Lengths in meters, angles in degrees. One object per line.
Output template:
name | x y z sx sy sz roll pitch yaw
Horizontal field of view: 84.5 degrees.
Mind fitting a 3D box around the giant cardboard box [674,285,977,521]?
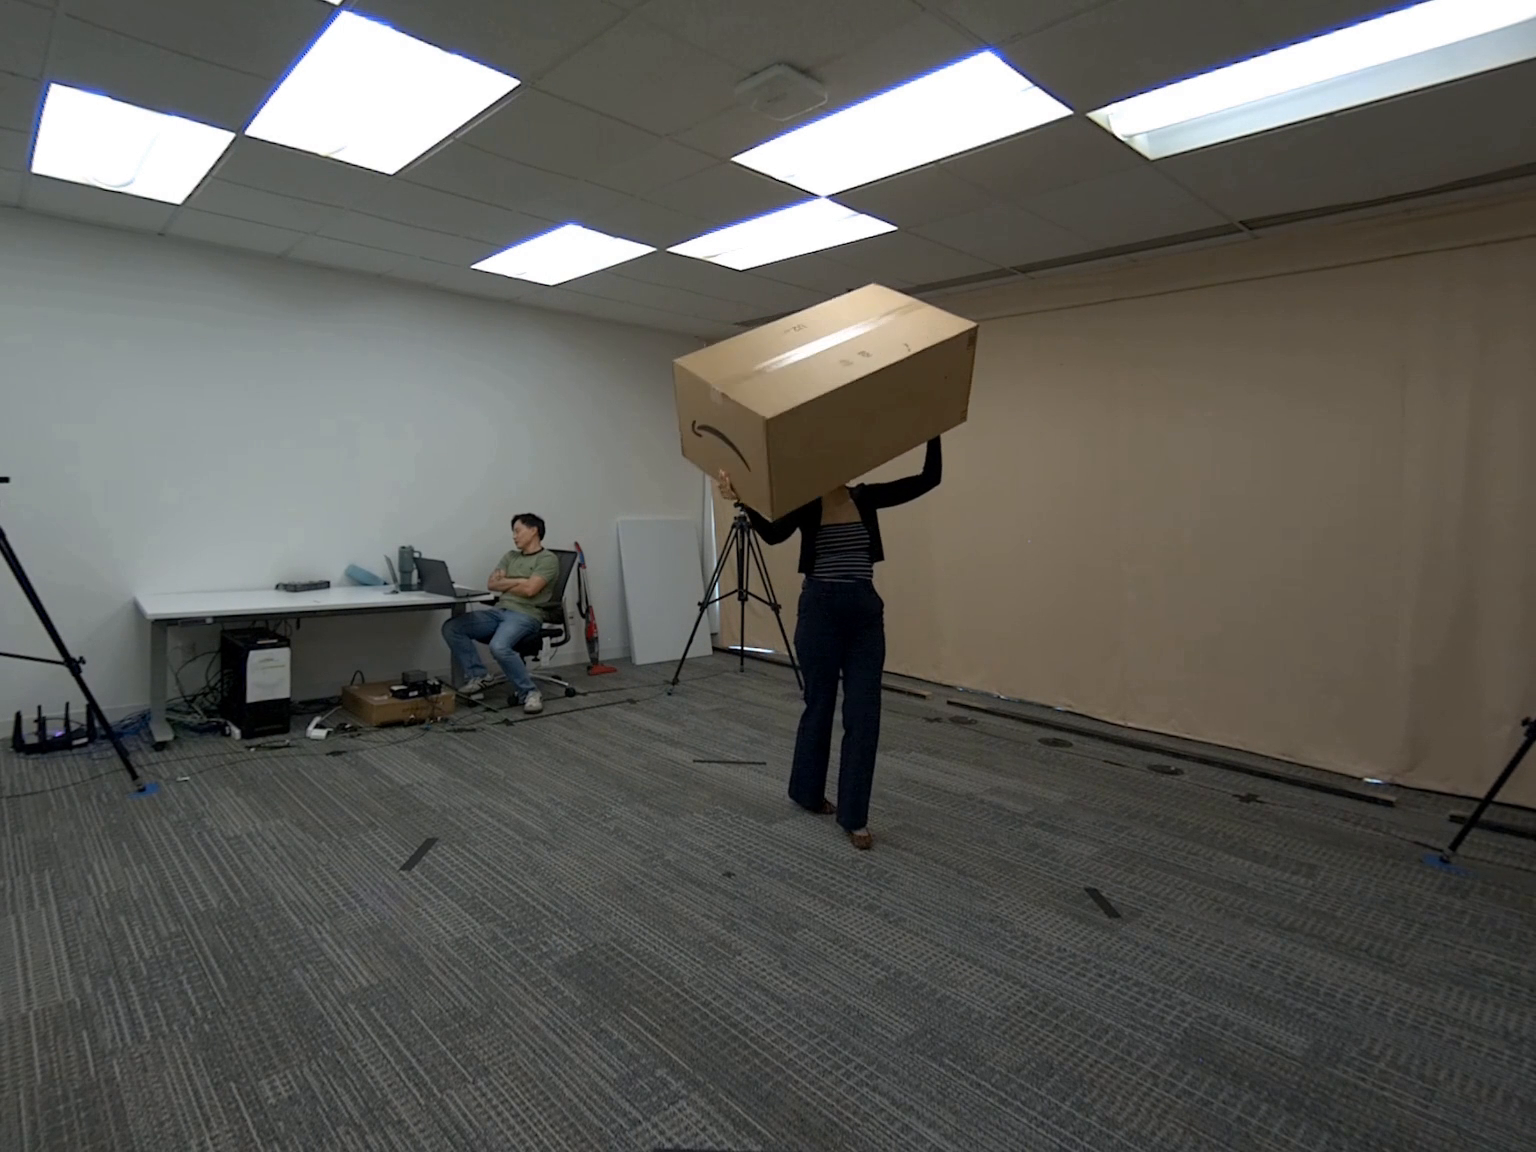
giant cardboard box | 0.216 -0.704 3.259 1.017 0.416 0.596 -28 45 -26
